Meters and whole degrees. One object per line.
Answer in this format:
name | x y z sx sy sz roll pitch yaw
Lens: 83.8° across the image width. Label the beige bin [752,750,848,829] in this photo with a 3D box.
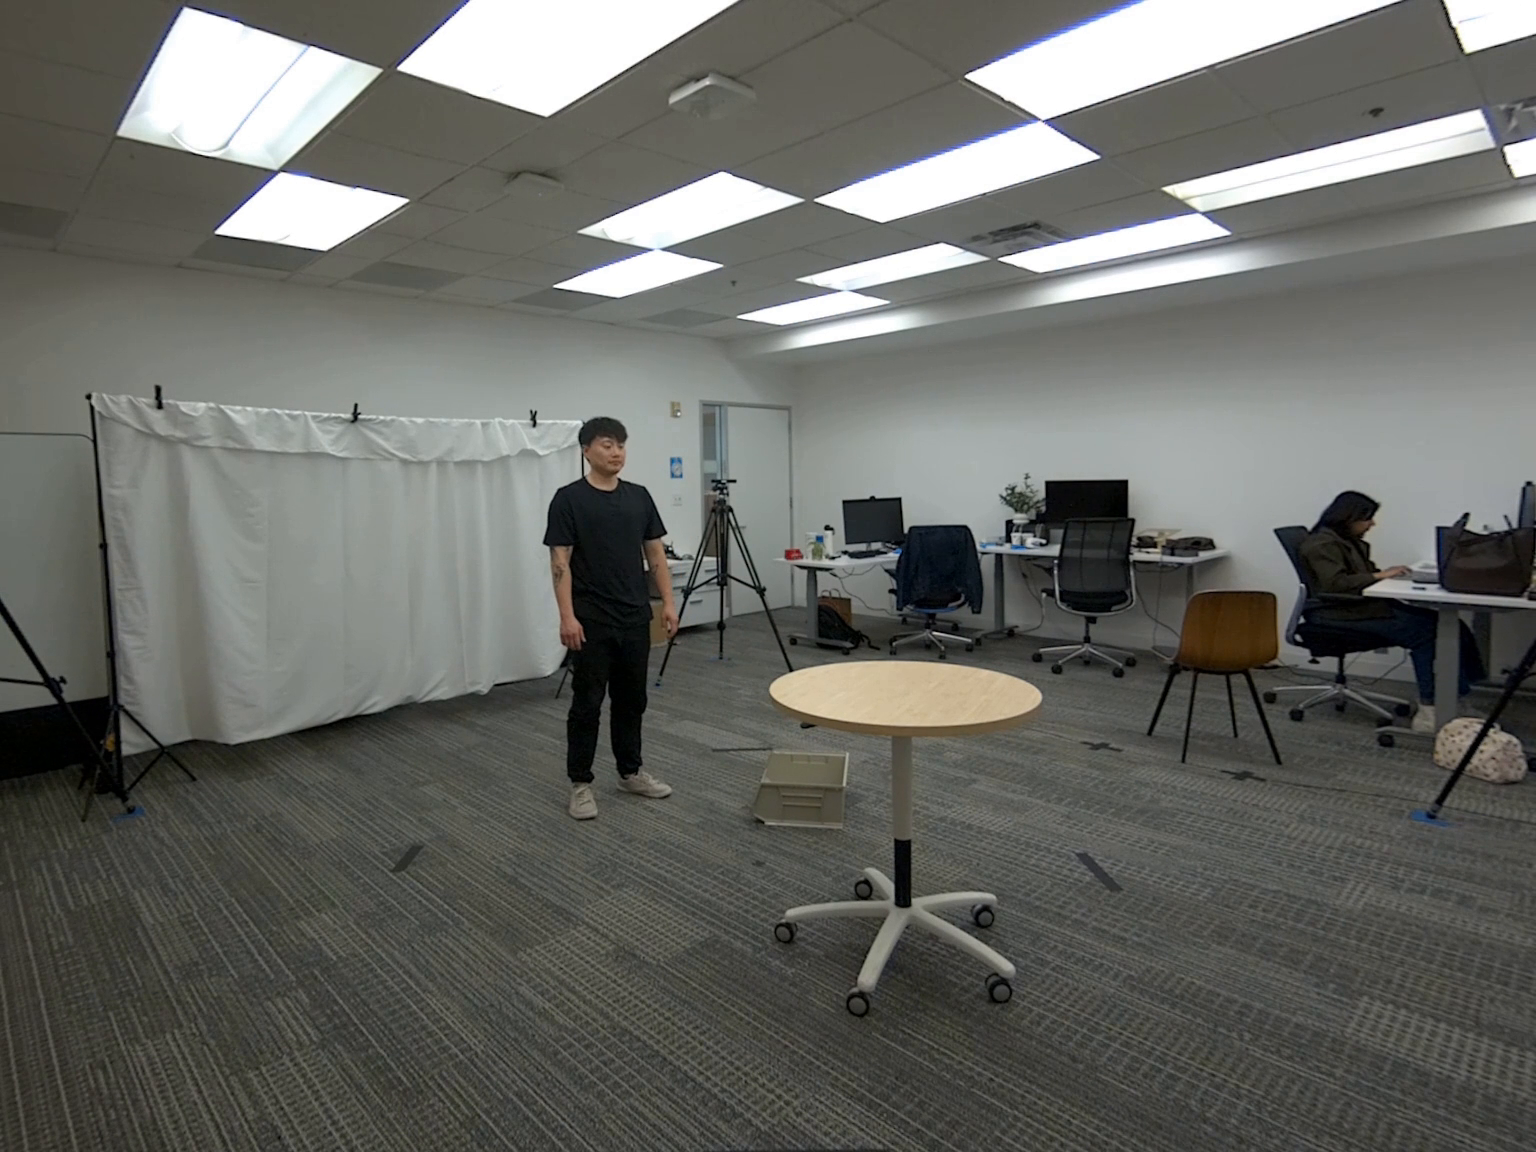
beige bin | 0.155 0.902 3.629 0.381 0.188 0.420 0 5 8
